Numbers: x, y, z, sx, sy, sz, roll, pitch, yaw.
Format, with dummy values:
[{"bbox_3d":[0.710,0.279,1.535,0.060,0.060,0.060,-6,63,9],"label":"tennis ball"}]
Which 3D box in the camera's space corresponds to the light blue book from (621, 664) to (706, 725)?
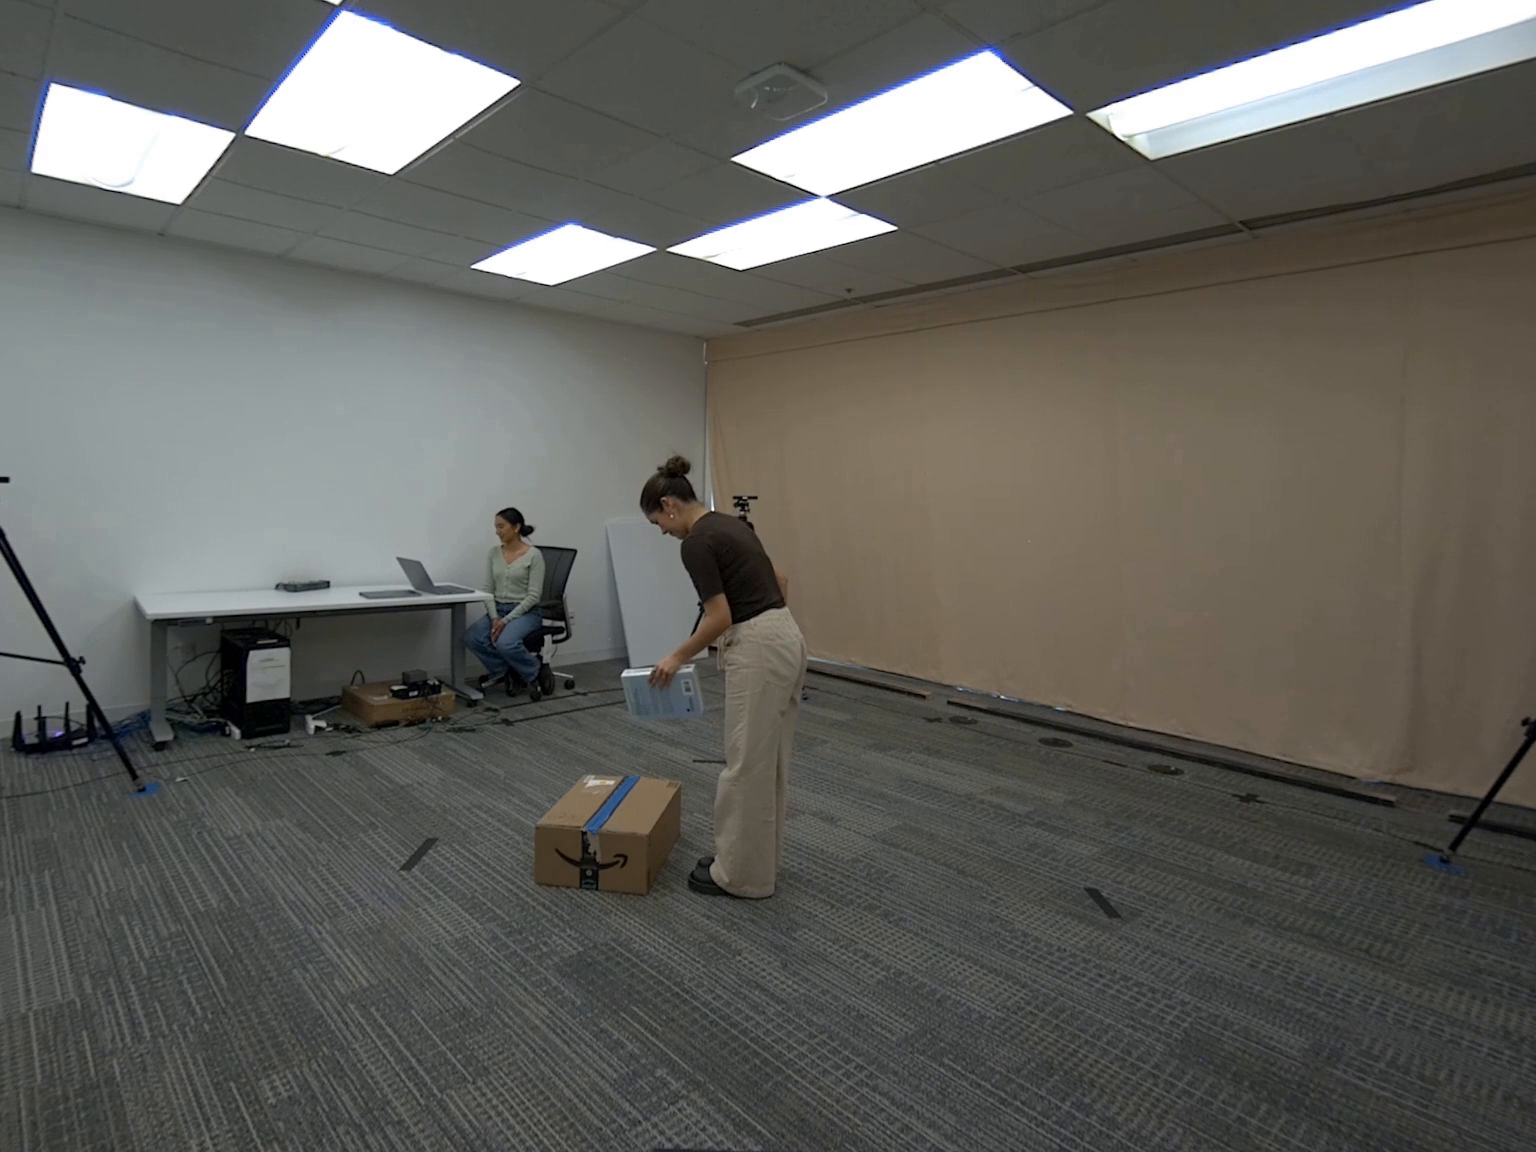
[{"bbox_3d":[-0.367,0.417,2.974,0.263,0.188,0.059,-4,19,9],"label":"light blue book"}]
